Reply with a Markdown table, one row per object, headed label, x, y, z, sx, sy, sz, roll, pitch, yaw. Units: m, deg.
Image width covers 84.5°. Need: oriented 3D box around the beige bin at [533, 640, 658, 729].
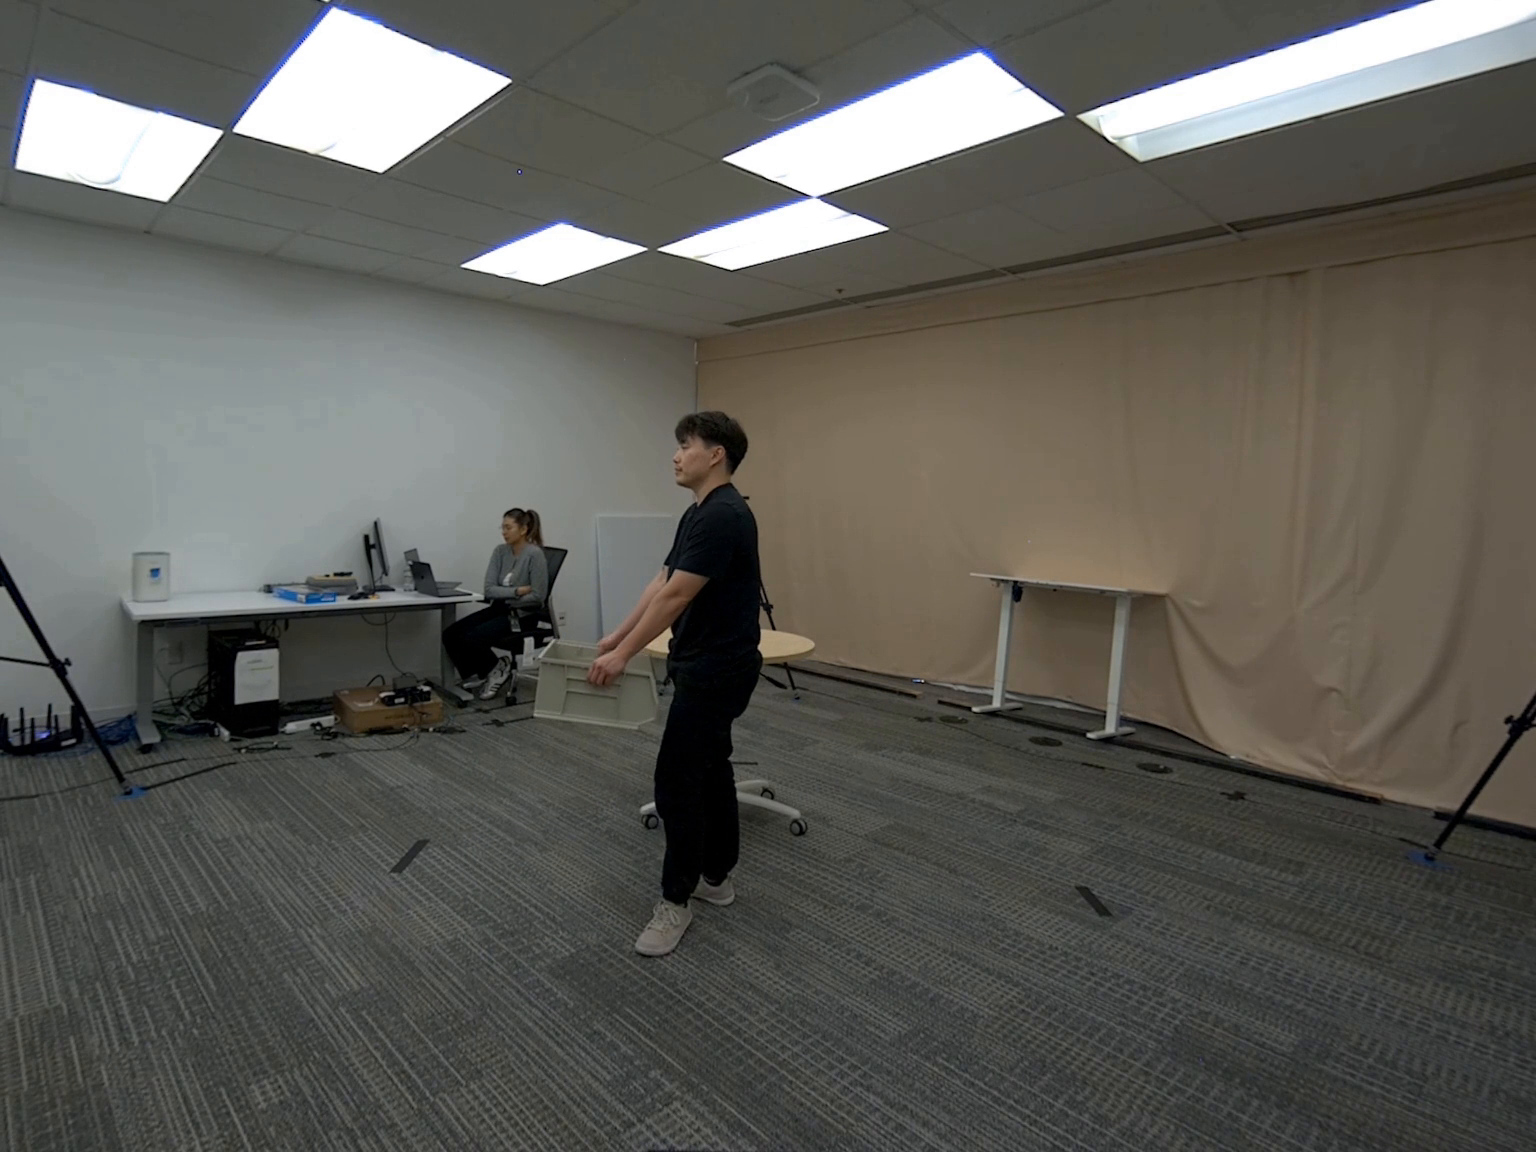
| label | x | y | z | sx | sy | sz | roll | pitch | yaw |
| --- | --- | --- | --- | --- | --- | --- | --- | --- | --- |
| beige bin | -0.546 | 0.349 | 2.720 | 0.375 | 0.189 | 0.425 | 7 | 2 | -8 |
